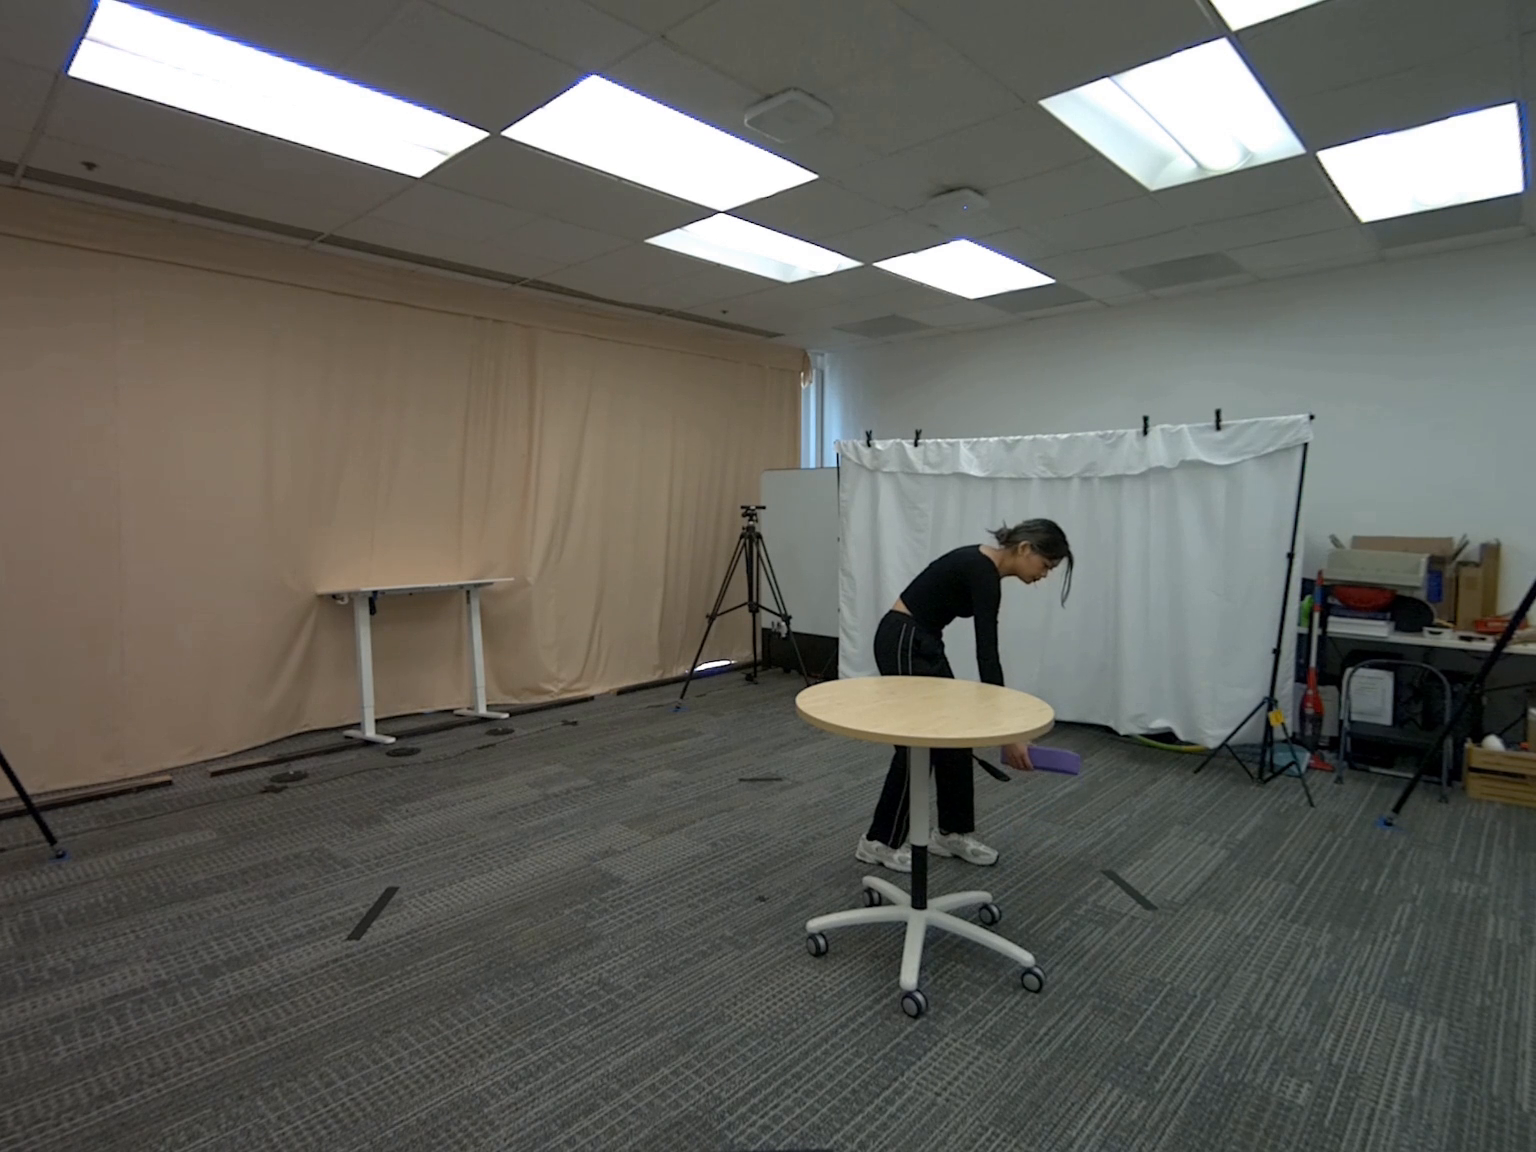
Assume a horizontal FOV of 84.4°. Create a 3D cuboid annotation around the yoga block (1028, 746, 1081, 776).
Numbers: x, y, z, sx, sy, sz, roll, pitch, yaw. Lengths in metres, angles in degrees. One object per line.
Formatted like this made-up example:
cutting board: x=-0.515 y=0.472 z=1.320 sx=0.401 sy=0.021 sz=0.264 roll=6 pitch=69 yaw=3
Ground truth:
yoga block: x=0.983 y=0.651 z=2.995 sx=0.236 sy=0.077 sz=0.144 roll=1 pitch=-11 yaw=32
